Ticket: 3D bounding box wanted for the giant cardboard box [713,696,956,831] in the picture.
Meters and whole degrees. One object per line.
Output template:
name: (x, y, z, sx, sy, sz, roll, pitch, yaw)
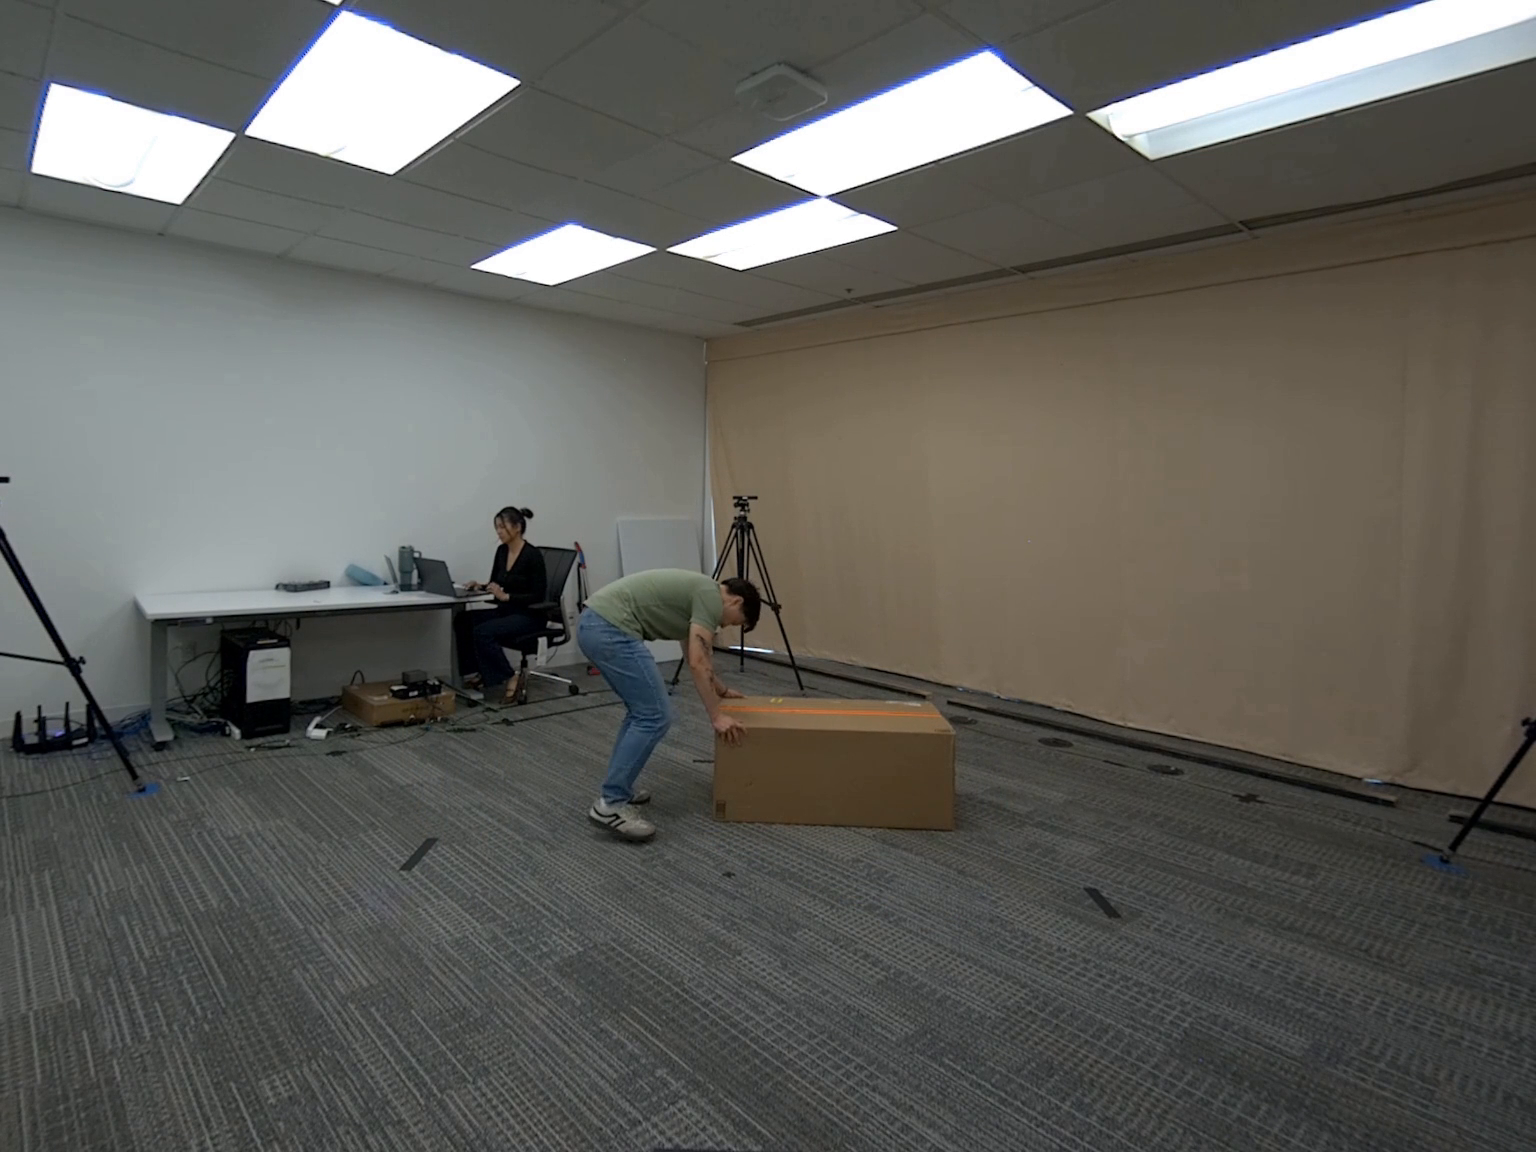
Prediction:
giant cardboard box: (0.276, 0.827, 3.871, 1.027, 0.425, 0.578, 1, 4, 1)
